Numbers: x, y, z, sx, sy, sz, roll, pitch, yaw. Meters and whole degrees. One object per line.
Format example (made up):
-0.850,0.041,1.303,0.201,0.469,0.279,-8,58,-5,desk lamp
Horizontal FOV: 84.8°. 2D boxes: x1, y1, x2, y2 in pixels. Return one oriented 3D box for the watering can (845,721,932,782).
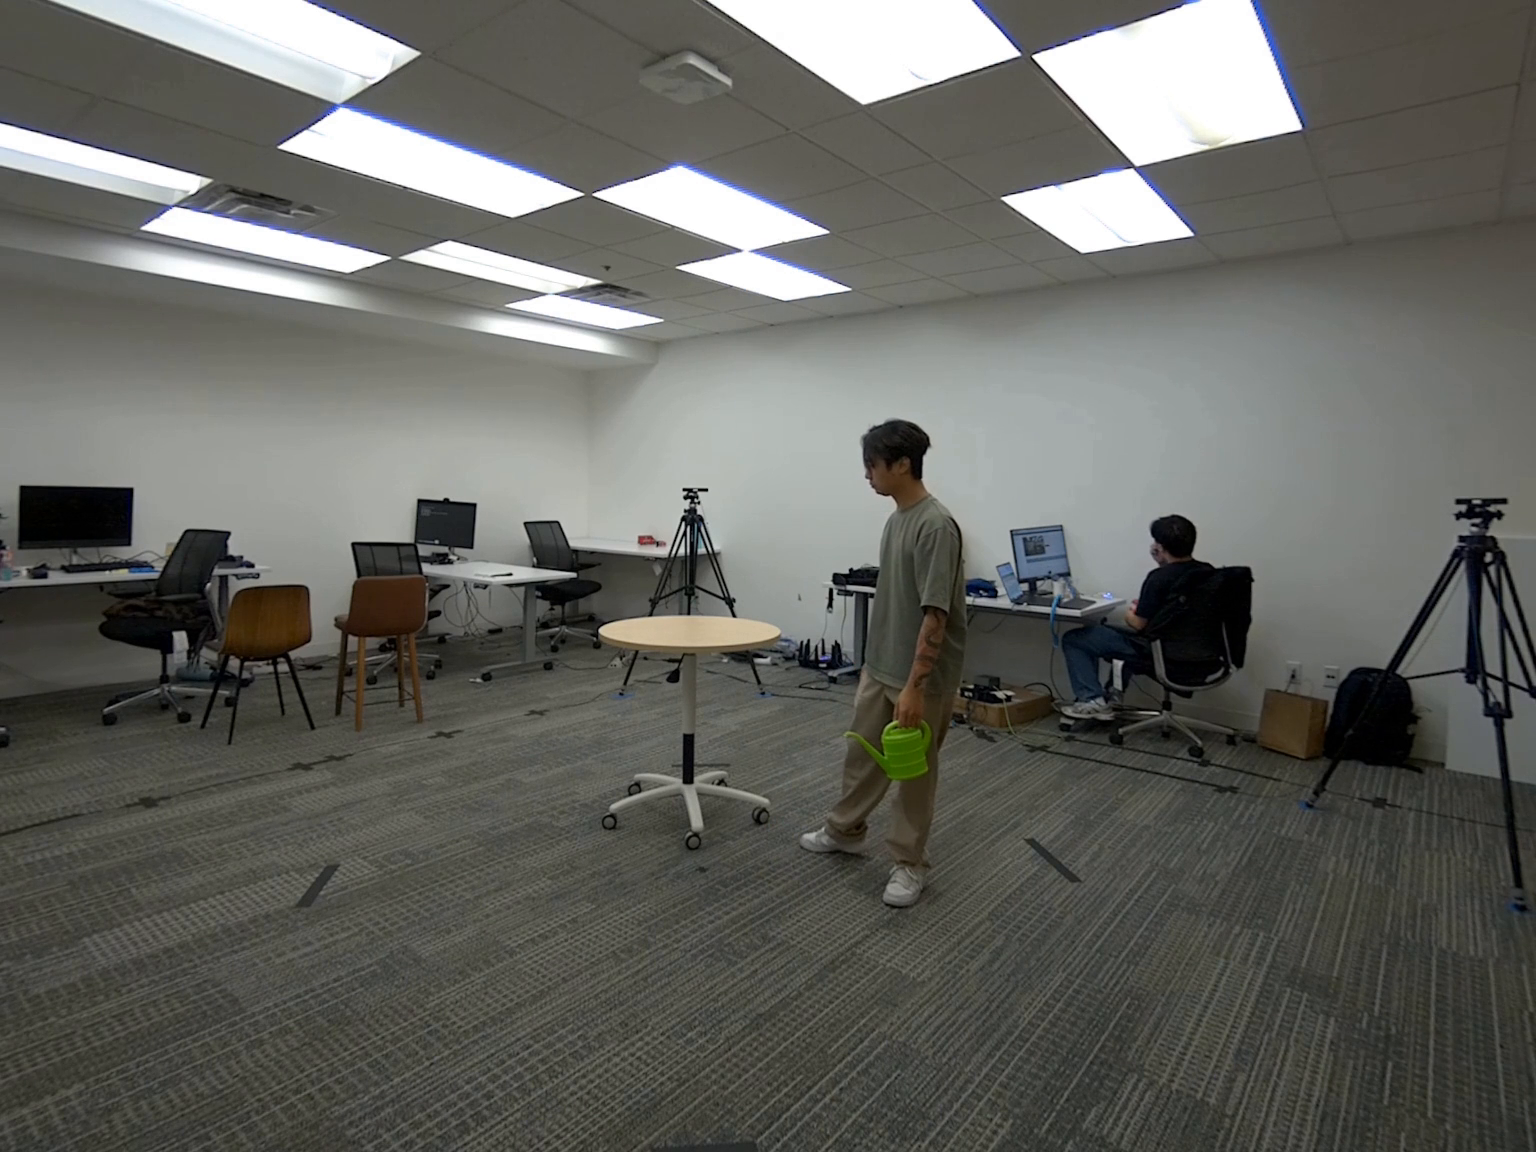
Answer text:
0.374,0.543,2.682,0.277,0.176,0.098,-10,3,-3,watering can
